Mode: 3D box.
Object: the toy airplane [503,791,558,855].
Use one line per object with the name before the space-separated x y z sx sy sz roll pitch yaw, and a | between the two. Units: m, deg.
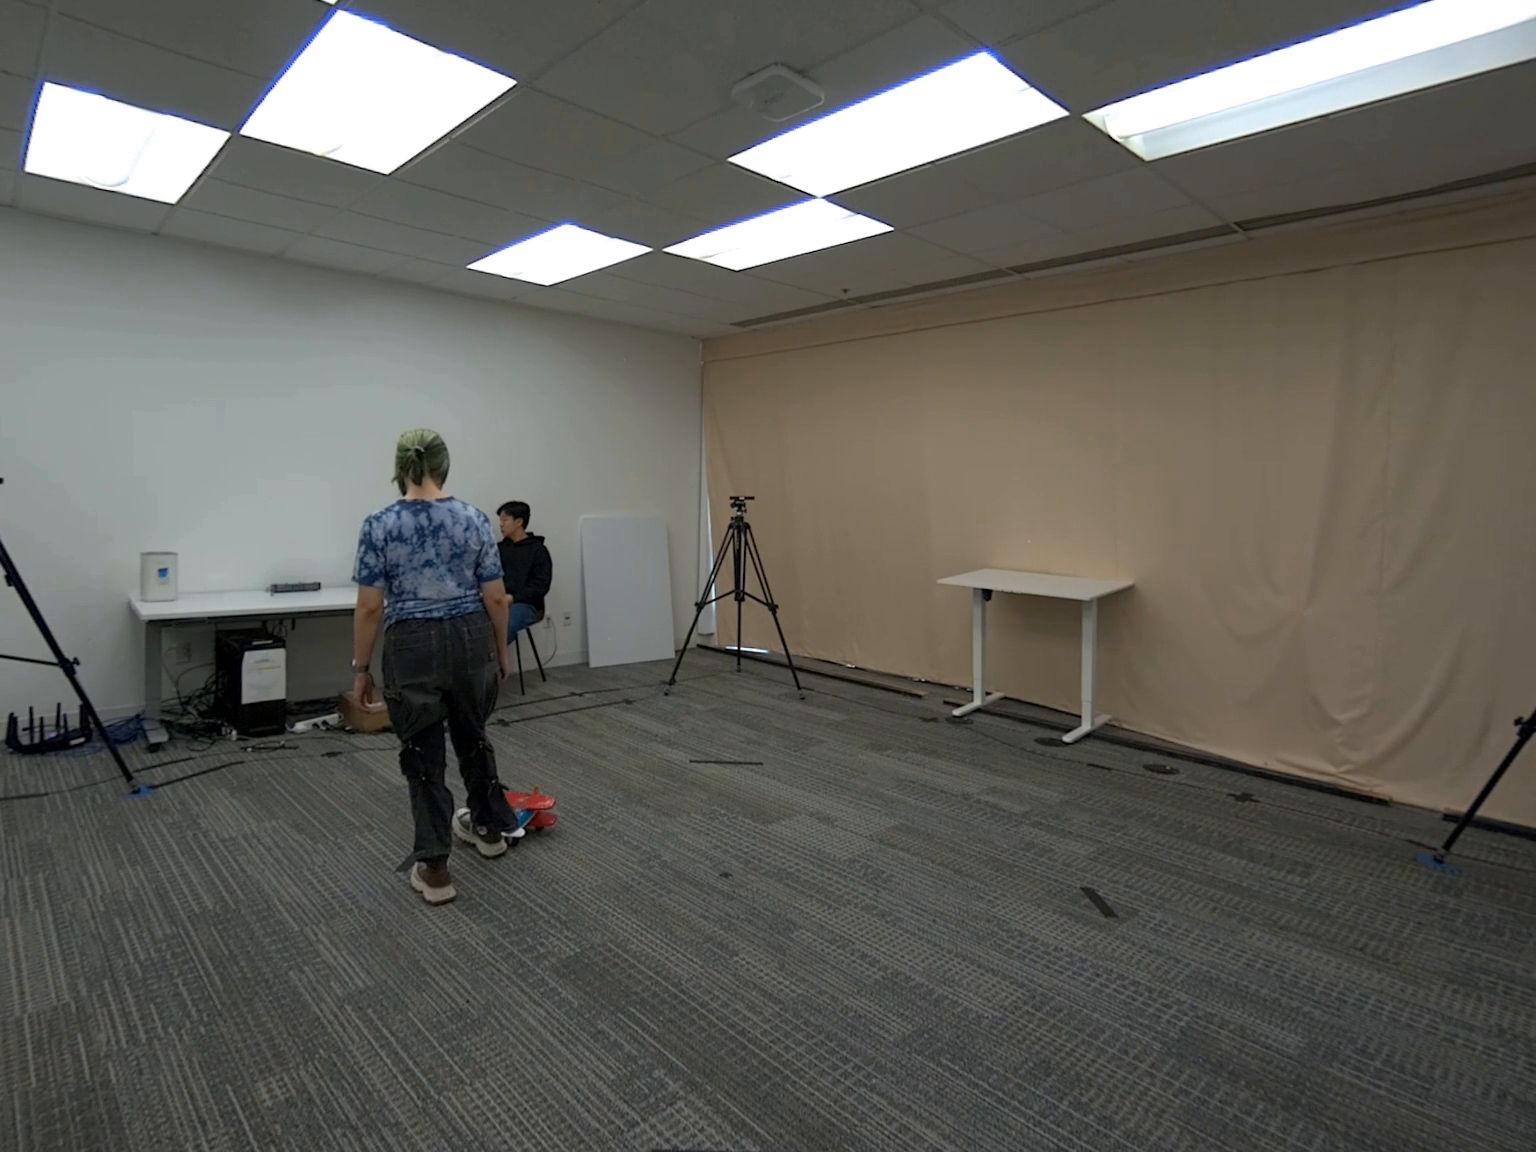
toy airplane | -0.987 0.989 3.405 0.248 0.156 0.263 1 3 -17
